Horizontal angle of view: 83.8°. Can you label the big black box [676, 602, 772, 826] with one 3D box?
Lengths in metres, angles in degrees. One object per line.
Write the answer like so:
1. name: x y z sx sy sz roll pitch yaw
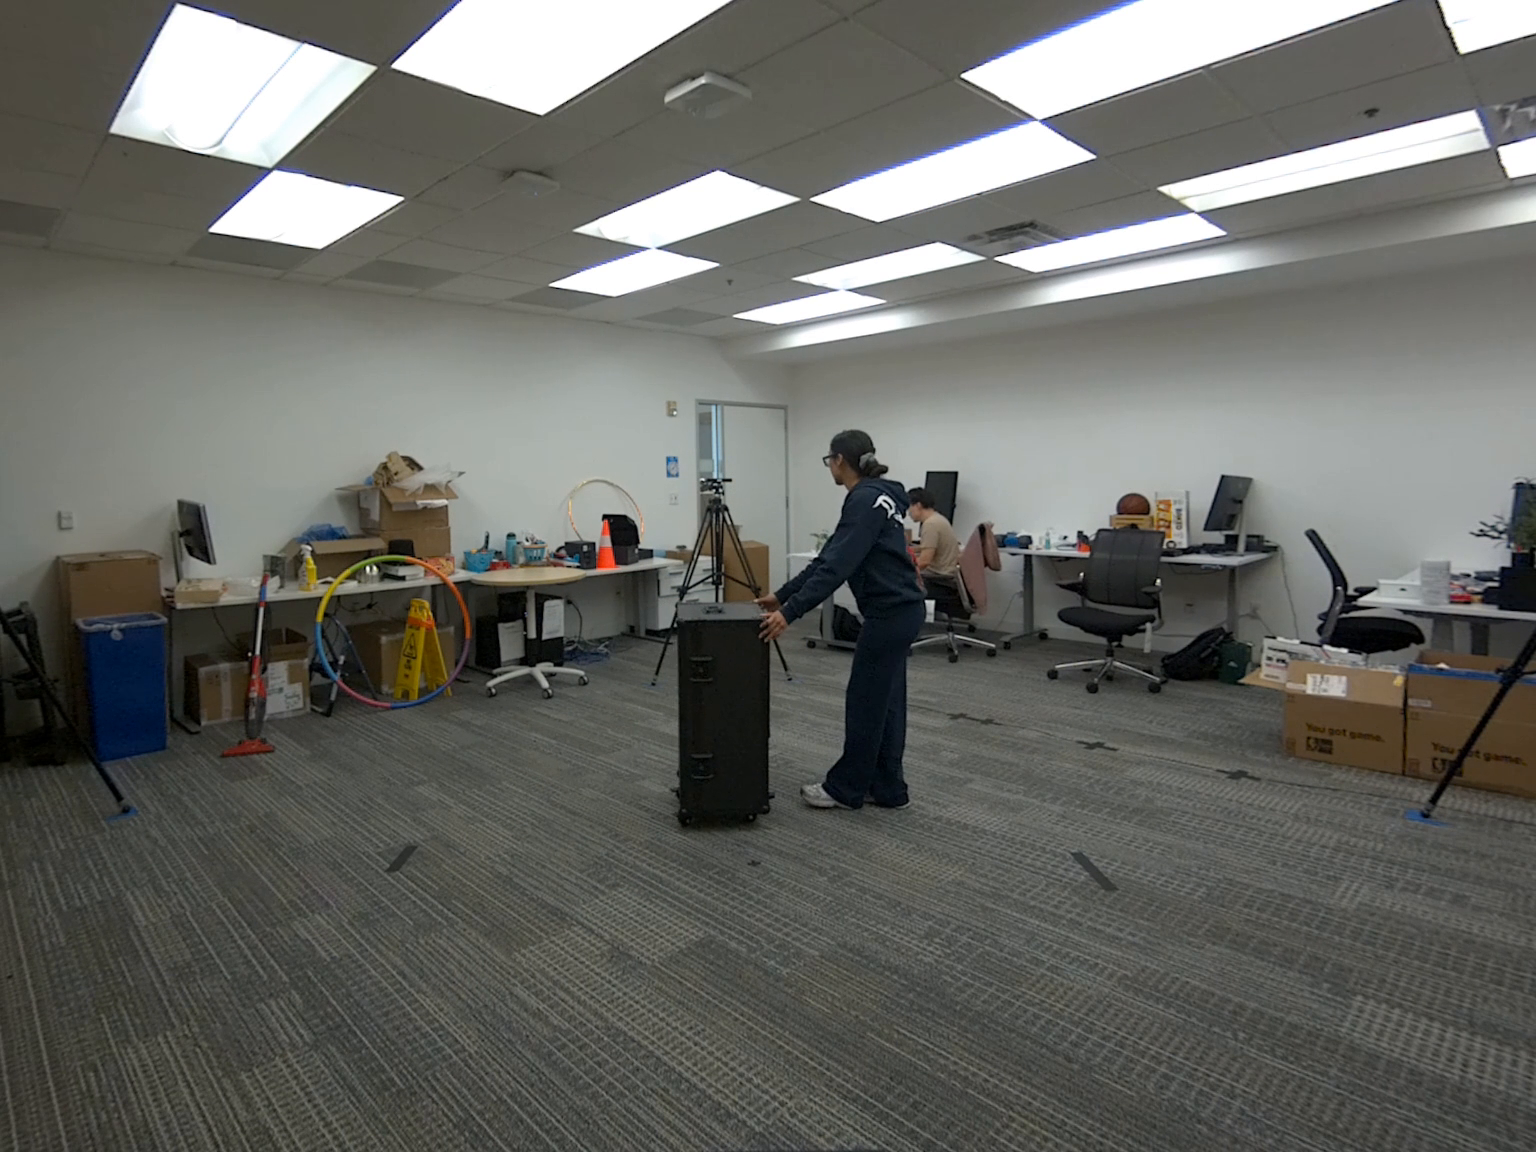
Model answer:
1. big black box: -0.183 0.569 3.594 0.395 0.860 0.524 1 3 -5
